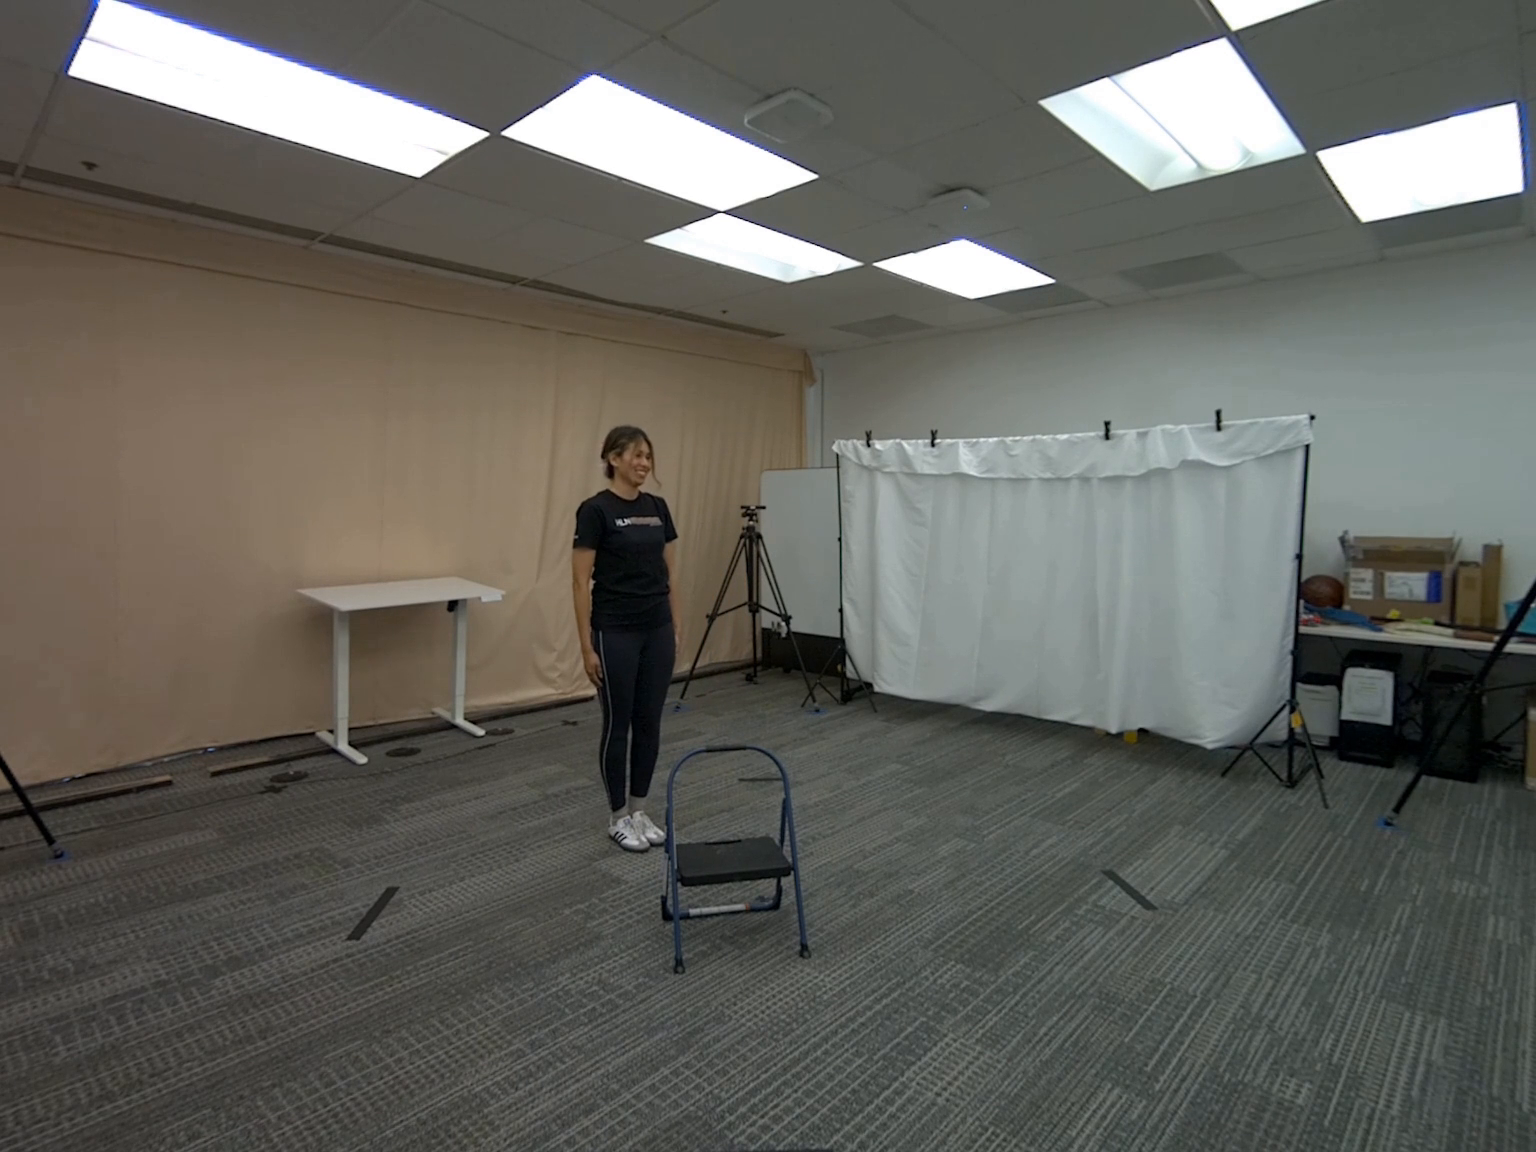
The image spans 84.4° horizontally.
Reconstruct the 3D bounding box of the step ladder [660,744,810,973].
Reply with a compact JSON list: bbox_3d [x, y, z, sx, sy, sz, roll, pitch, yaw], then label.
[{"bbox_3d":[-0.114,0.871,2.698,0.425,0.604,0.355,-1,4,-13],"label":"step ladder"}]
